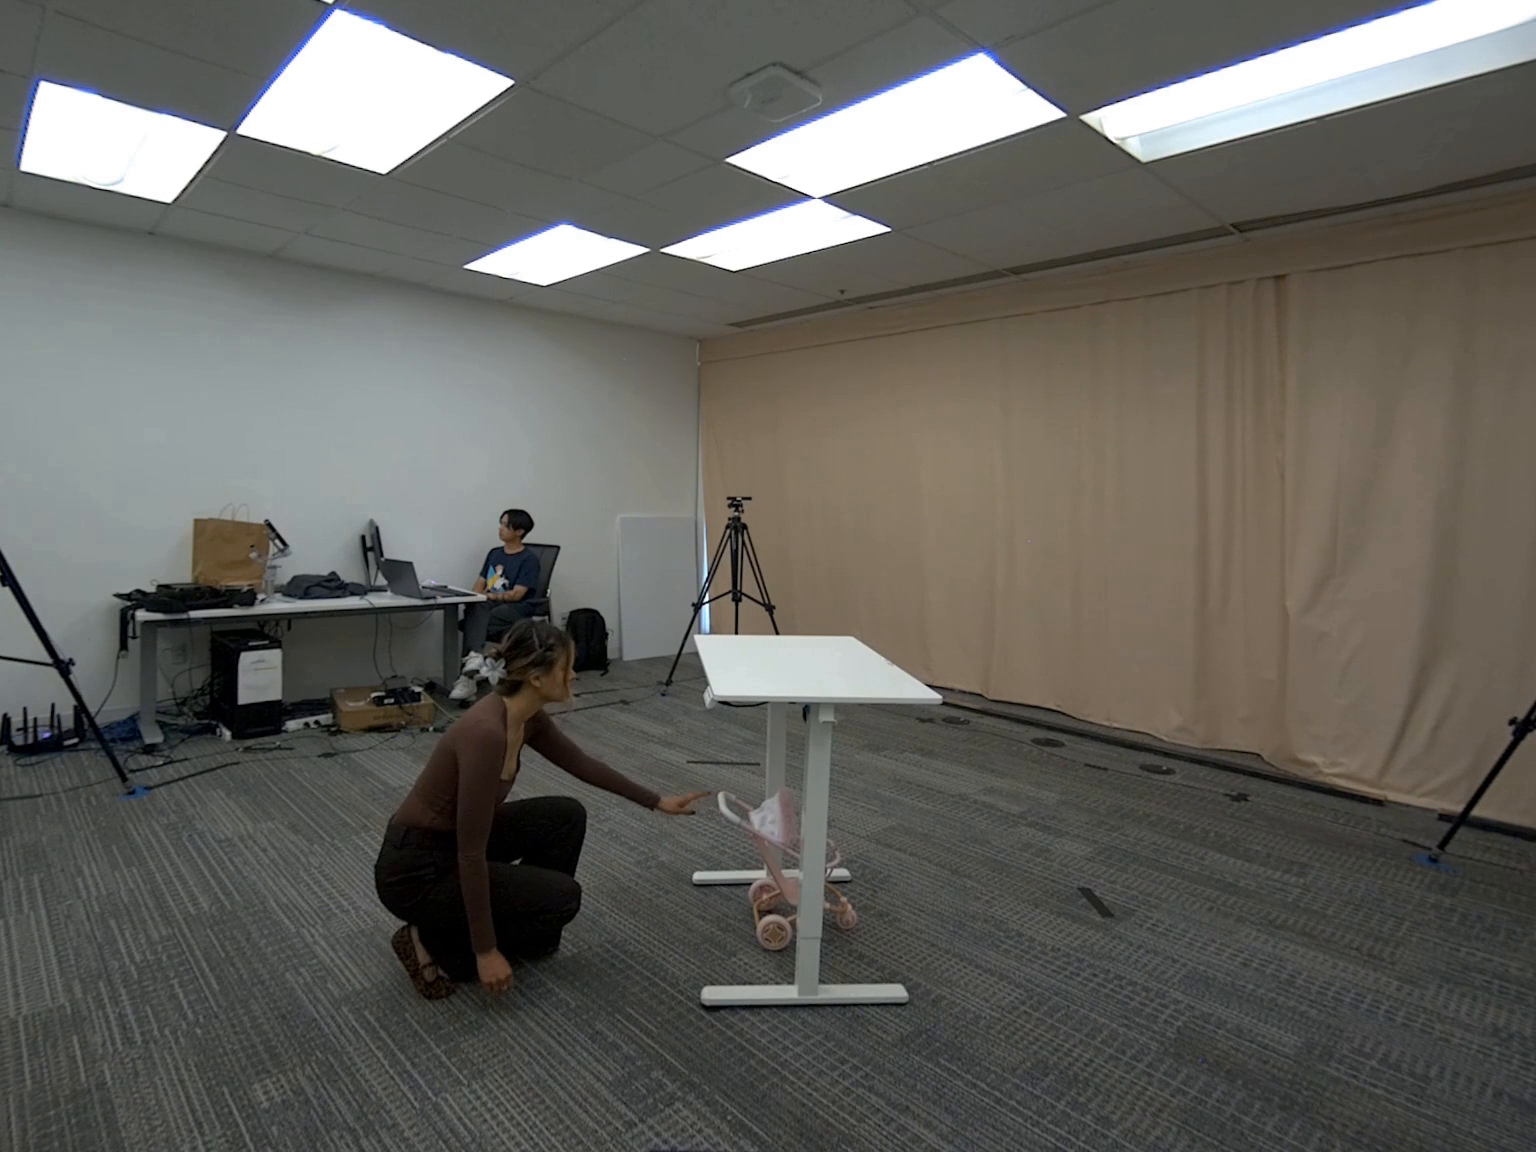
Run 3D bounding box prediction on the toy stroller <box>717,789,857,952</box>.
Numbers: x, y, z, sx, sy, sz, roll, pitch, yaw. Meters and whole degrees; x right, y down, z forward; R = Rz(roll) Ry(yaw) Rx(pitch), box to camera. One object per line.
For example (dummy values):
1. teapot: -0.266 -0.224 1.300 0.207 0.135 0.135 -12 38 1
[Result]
1. toy stroller: 0.067 0.920 2.709 0.341 0.533 0.282 -15 4 -1
